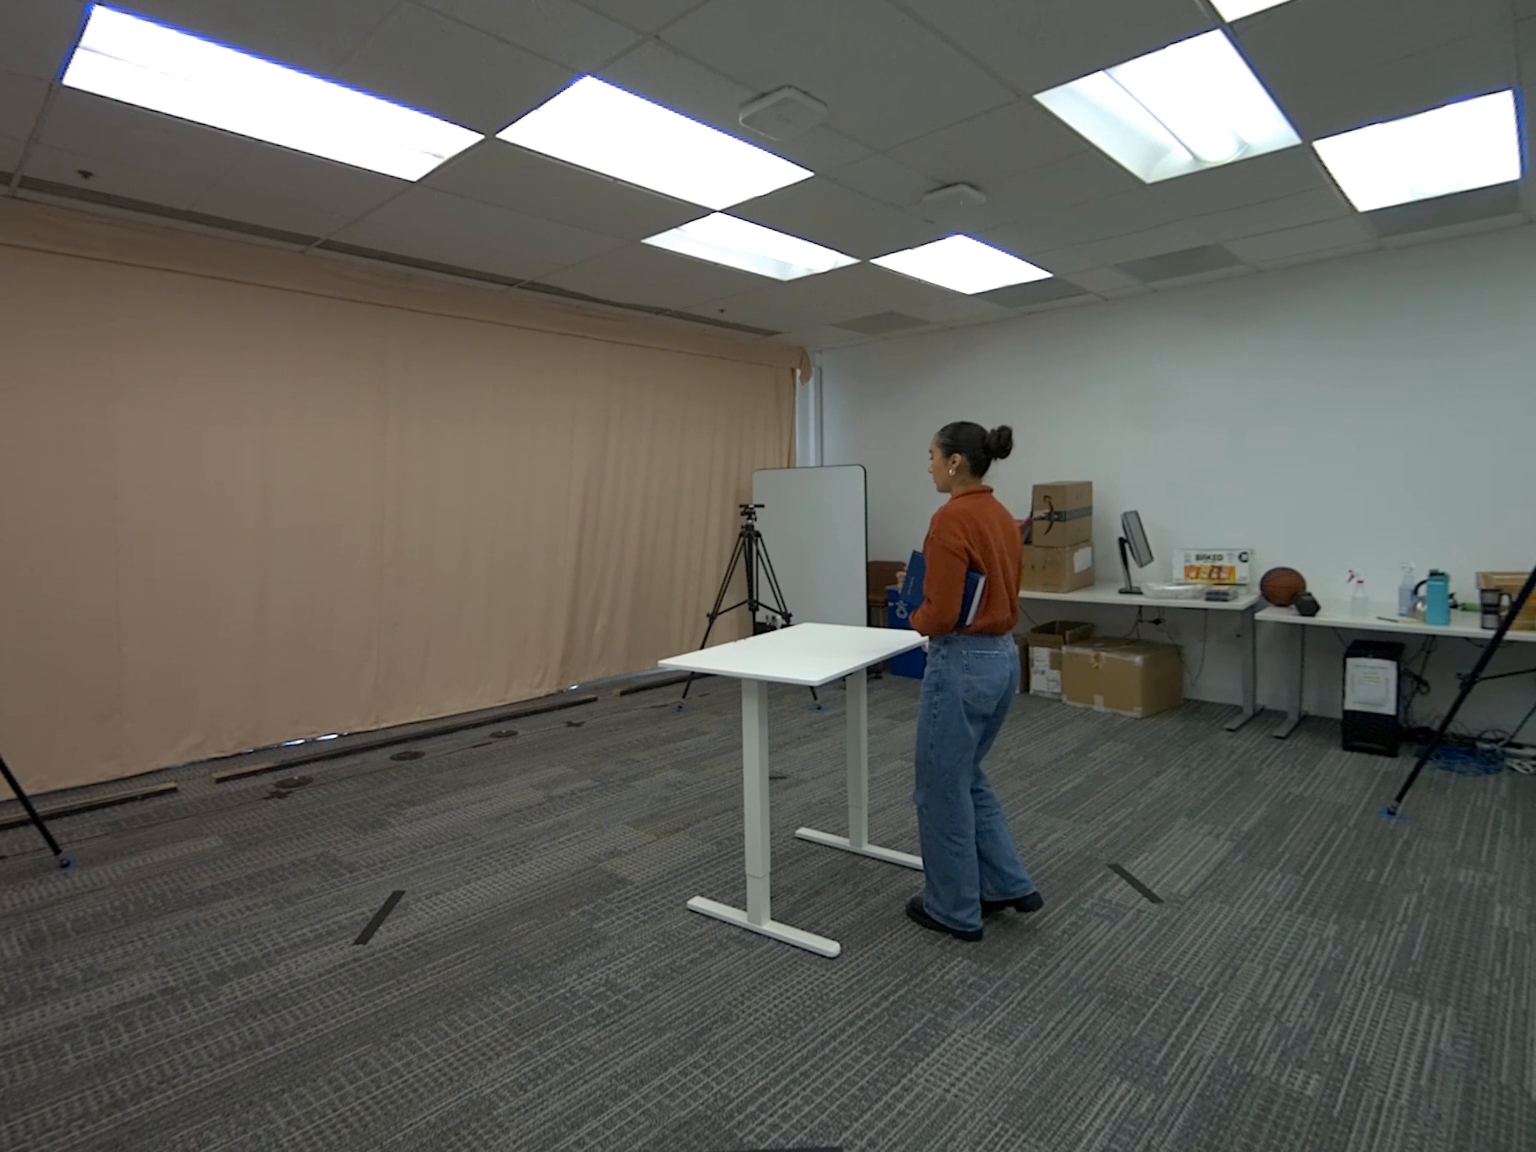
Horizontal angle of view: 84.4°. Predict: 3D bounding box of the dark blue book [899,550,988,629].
[{"bbox_3d":[0.536,0.034,2.593,0.044,0.162,0.254,-4,22,-43],"label":"dark blue book"}]
